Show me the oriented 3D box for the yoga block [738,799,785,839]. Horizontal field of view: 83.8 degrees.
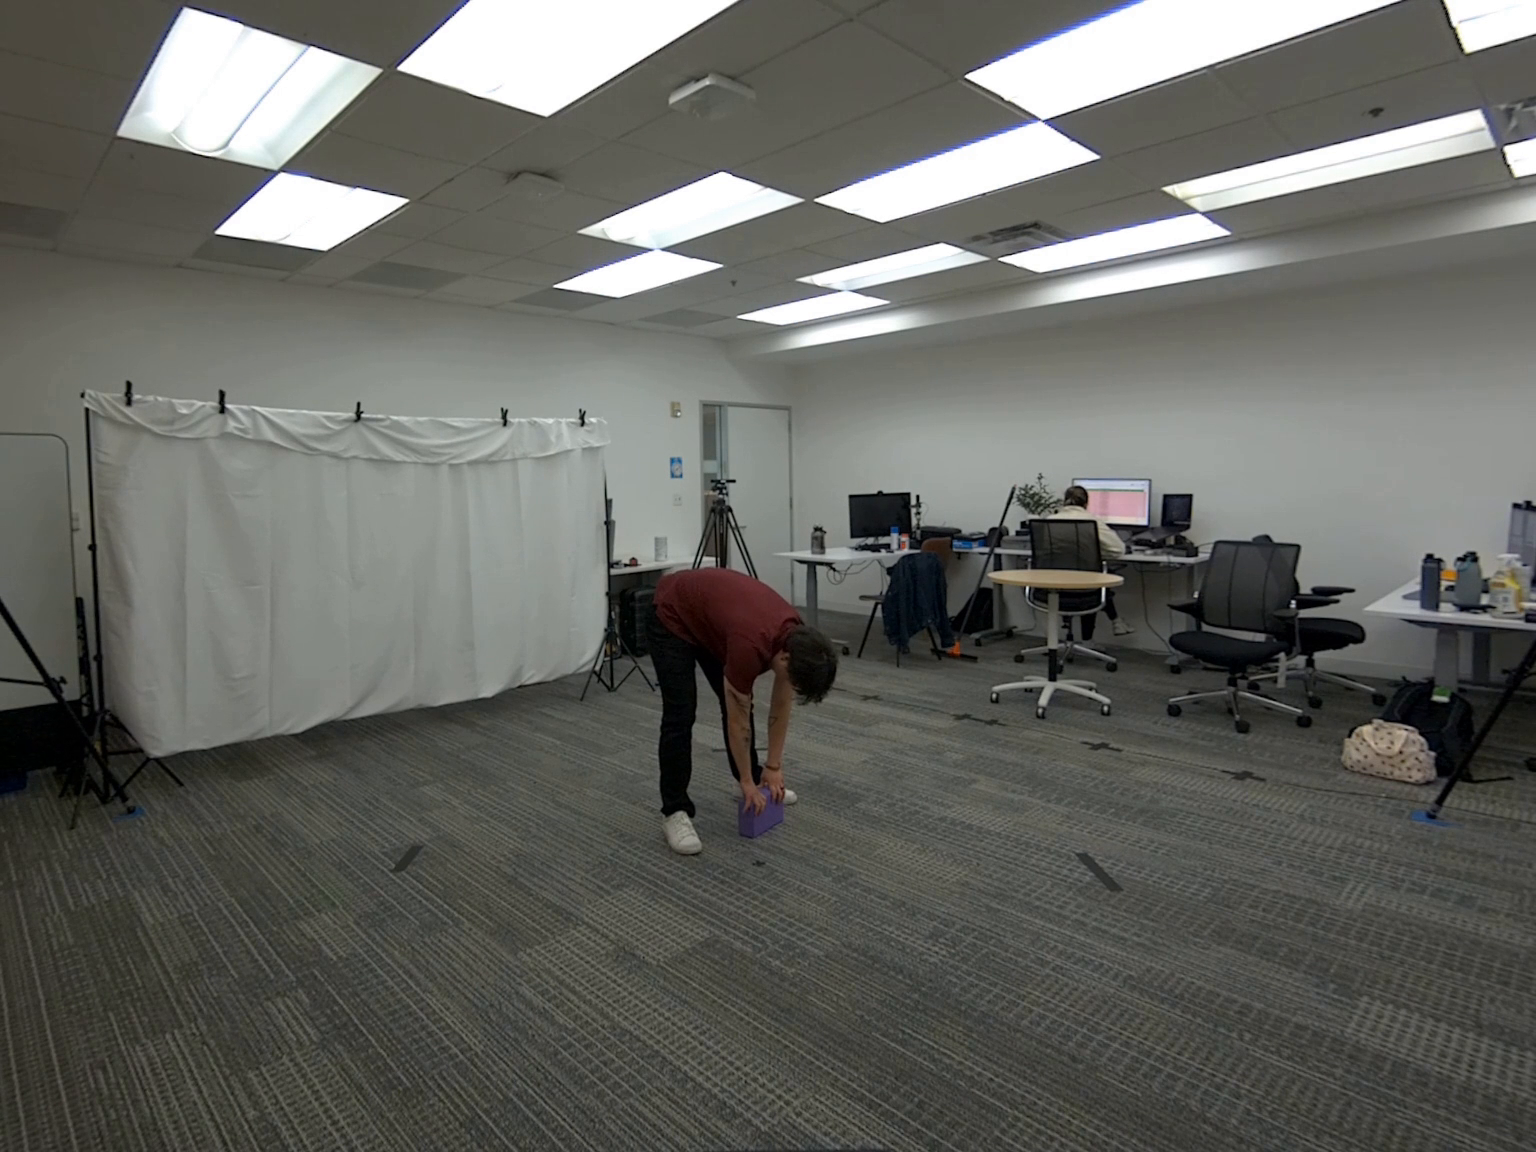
[{"bbox_3d":[-0.035,0.938,3.433,0.078,0.149,0.224,-3,3,33],"label":"yoga block"}]
